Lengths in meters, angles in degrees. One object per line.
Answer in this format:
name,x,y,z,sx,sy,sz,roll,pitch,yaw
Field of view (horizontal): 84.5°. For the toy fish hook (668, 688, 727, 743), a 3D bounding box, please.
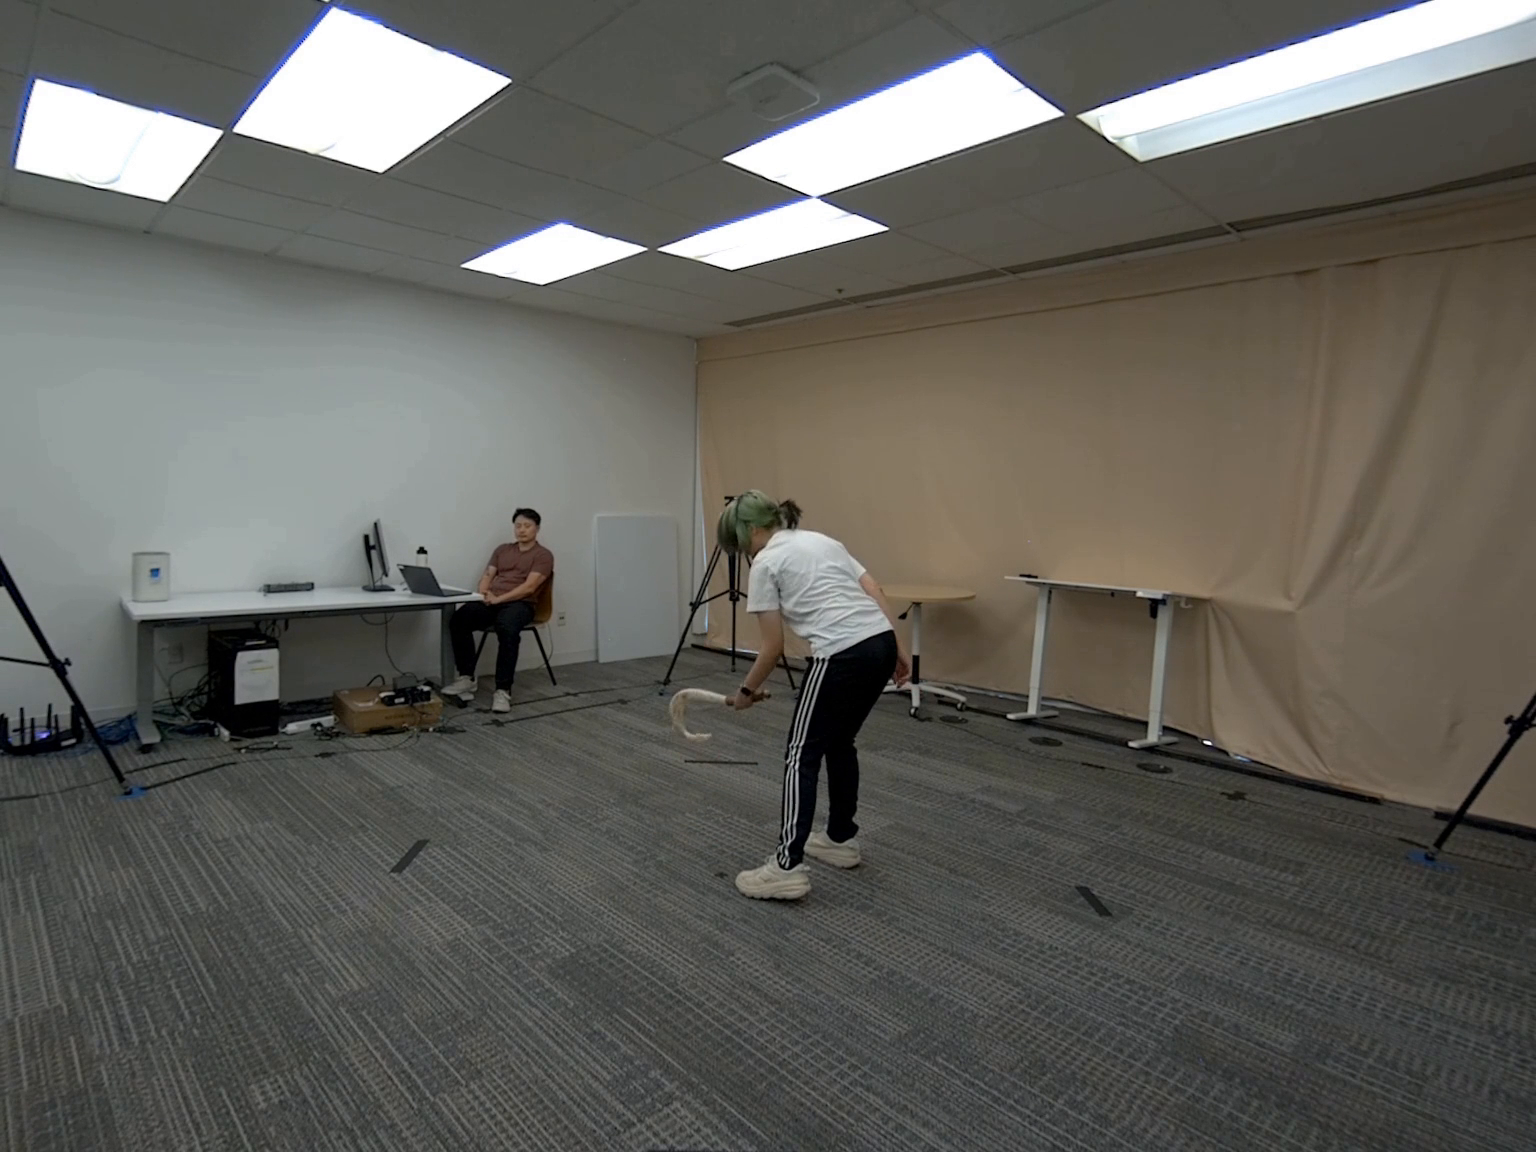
toy fish hook,-0.210,0.567,3.426,0.515,0.225,0.047,-10,-1,33
